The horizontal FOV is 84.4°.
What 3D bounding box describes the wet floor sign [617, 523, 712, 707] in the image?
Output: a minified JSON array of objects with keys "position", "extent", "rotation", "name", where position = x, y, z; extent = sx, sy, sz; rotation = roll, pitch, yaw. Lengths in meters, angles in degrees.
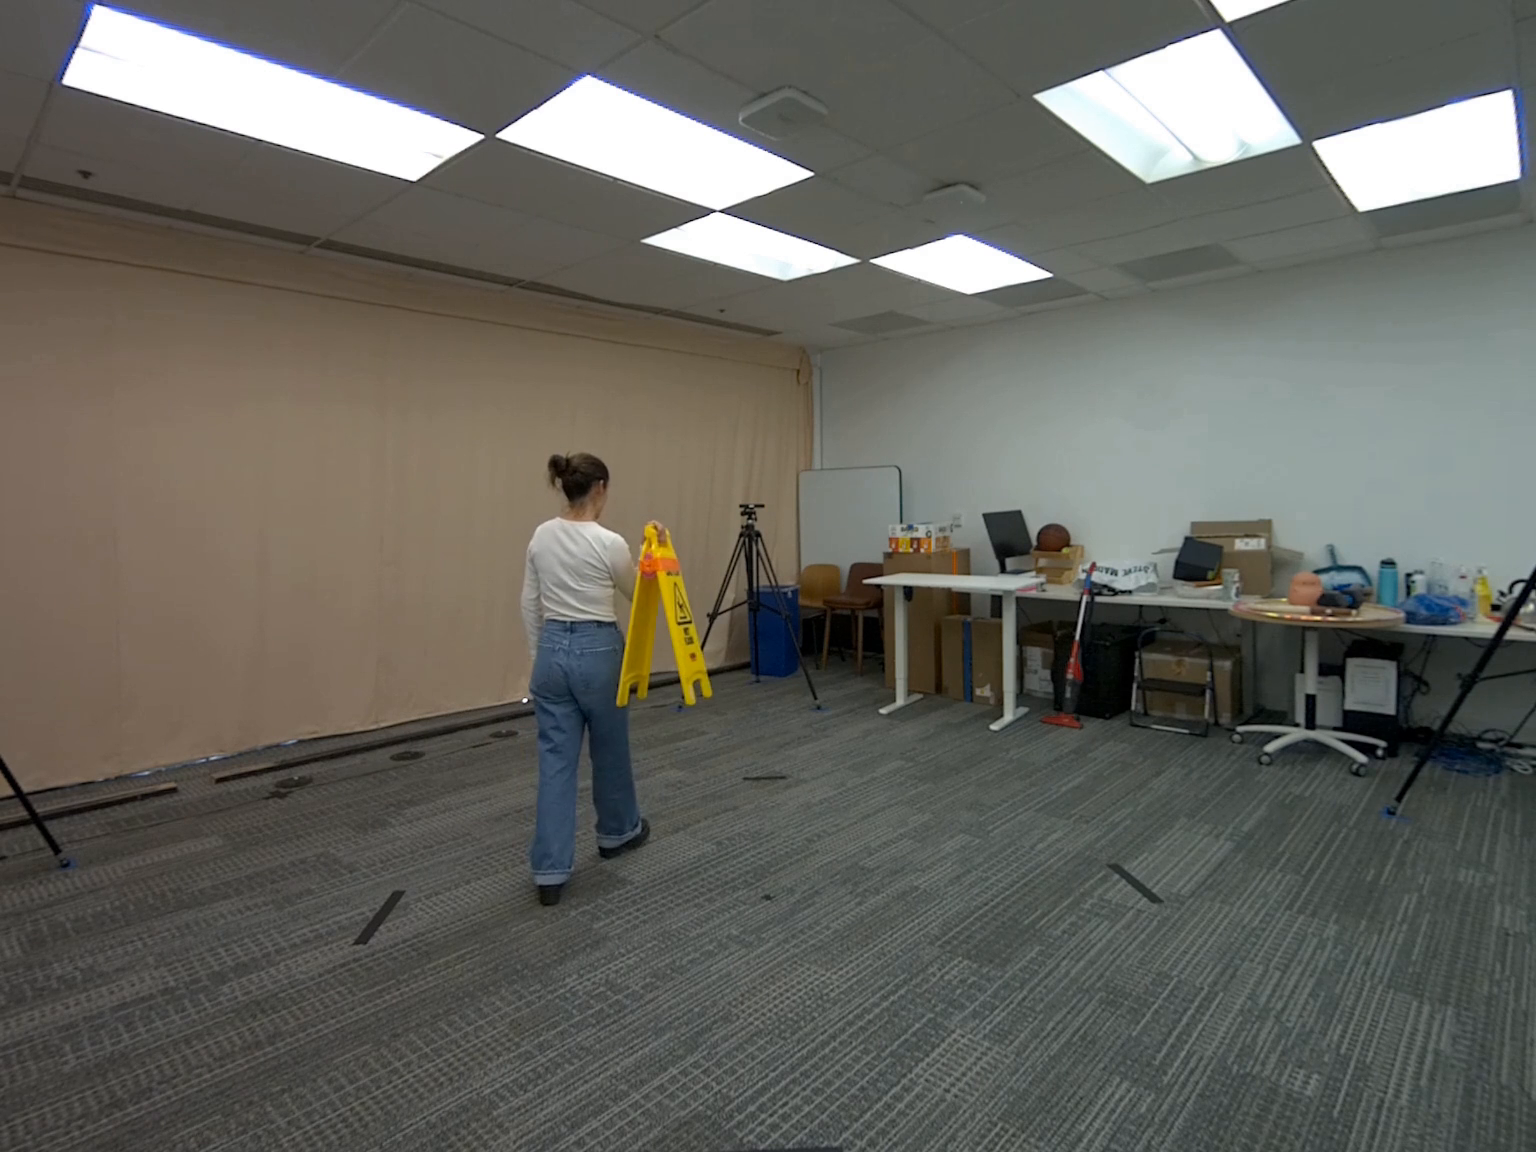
[{"position":[-0.395,0.136,3.120],"extent":[0.294,0.648,0.277],"rotation":[-5,-5,15],"name":"wet floor sign"}]
